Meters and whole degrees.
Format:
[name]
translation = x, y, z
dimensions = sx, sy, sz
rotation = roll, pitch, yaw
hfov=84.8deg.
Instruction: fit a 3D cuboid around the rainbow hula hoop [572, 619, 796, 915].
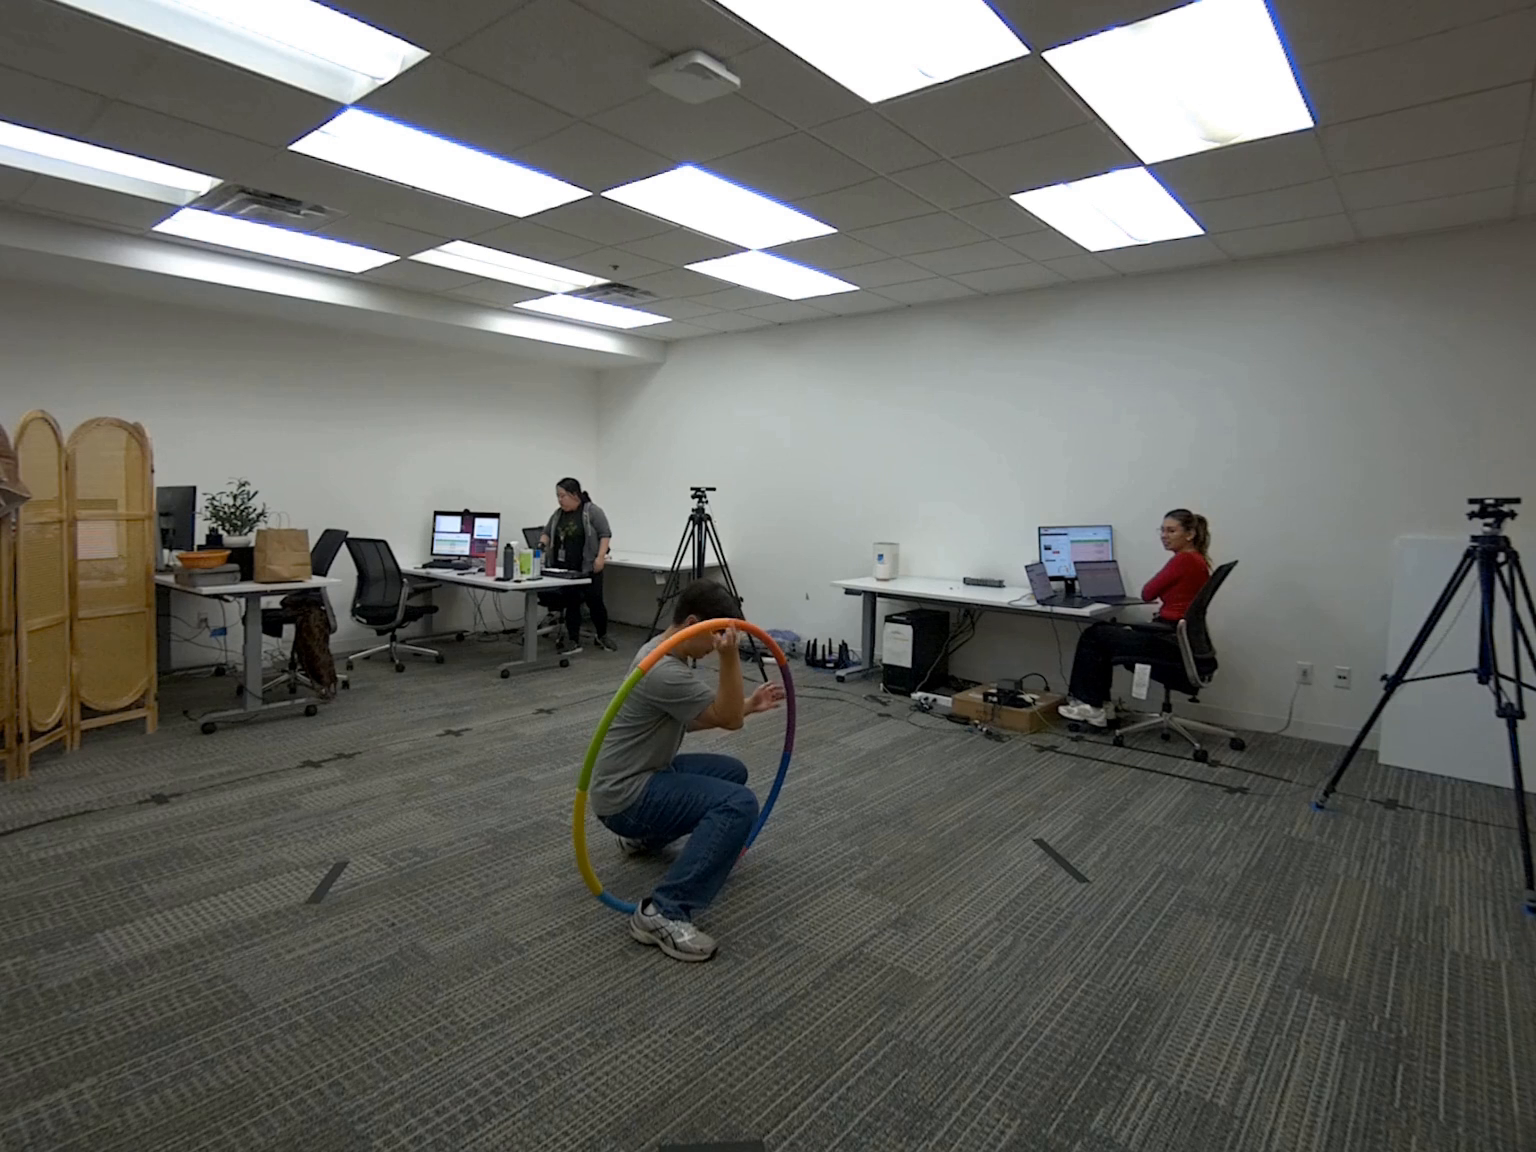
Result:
[rainbow hula hoop]
translation = -0.238, 0.610, 2.757
dimensions = 0.037, 0.971, 0.949
rotation = 14, 12, 40
